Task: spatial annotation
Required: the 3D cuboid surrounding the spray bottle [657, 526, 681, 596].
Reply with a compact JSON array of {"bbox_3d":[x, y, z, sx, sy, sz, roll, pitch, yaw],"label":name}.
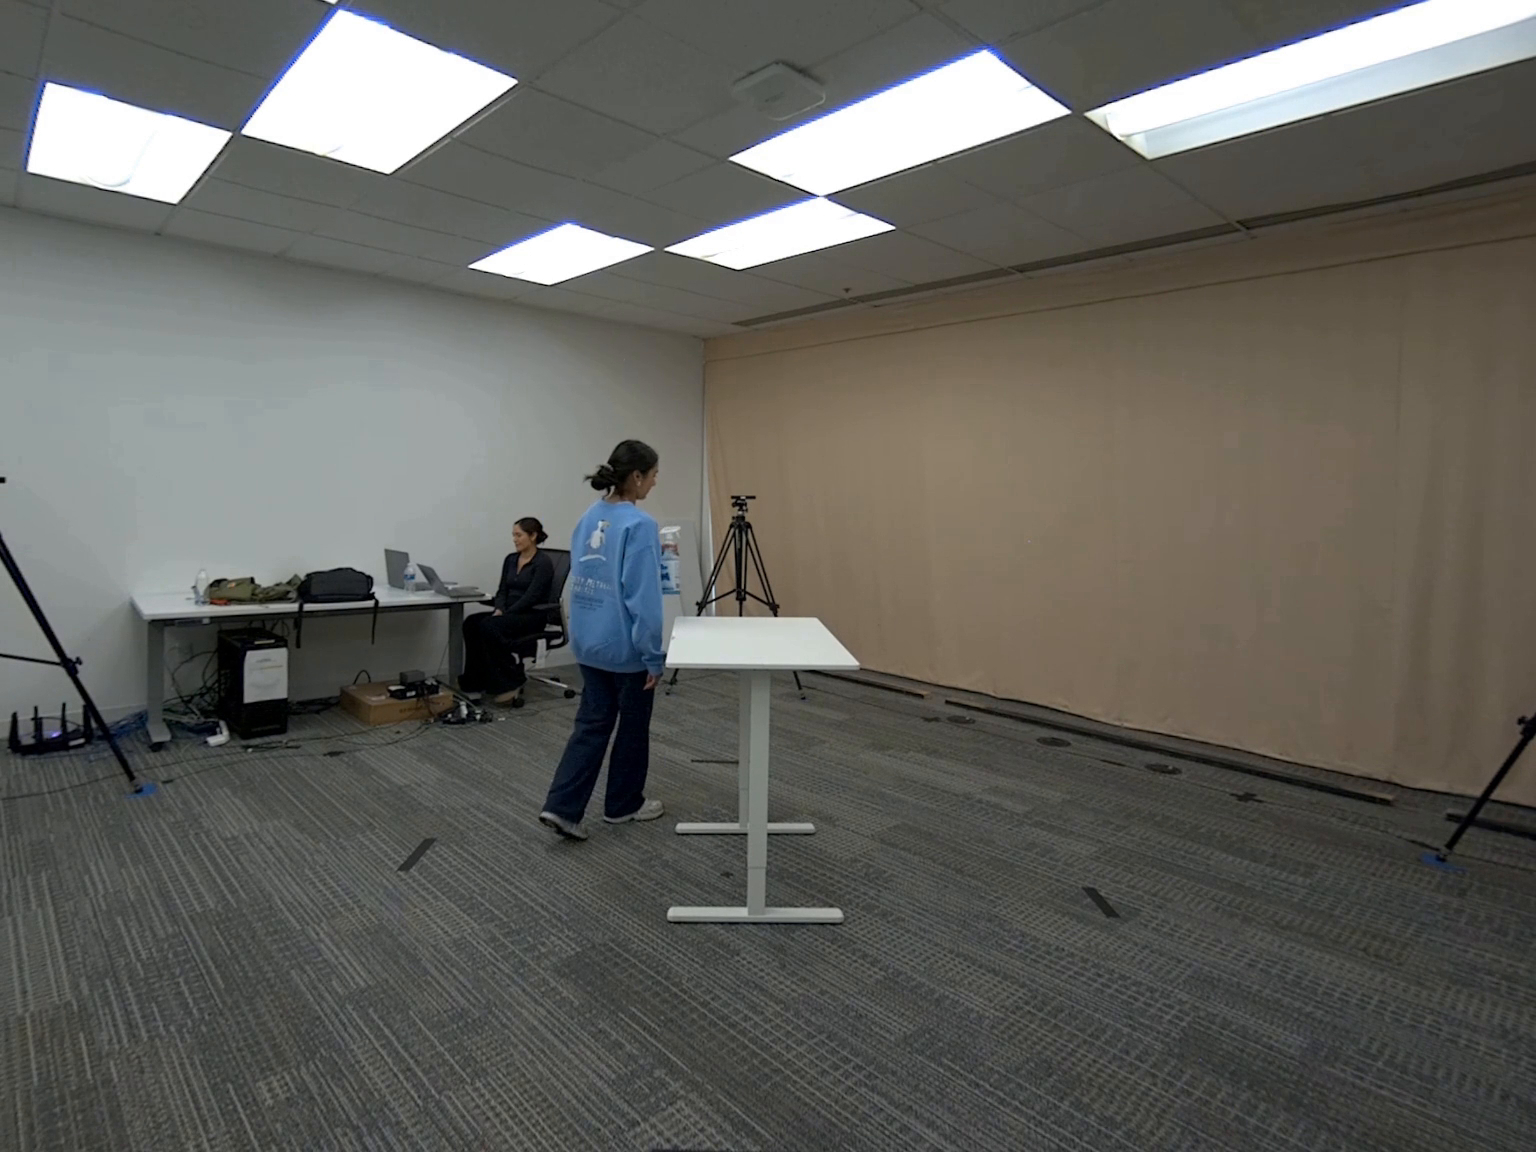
[{"bbox_3d":[-0.439,-0.068,3.666,0.091,0.298,0.086,0,-1,12],"label":"spray bottle"}]
